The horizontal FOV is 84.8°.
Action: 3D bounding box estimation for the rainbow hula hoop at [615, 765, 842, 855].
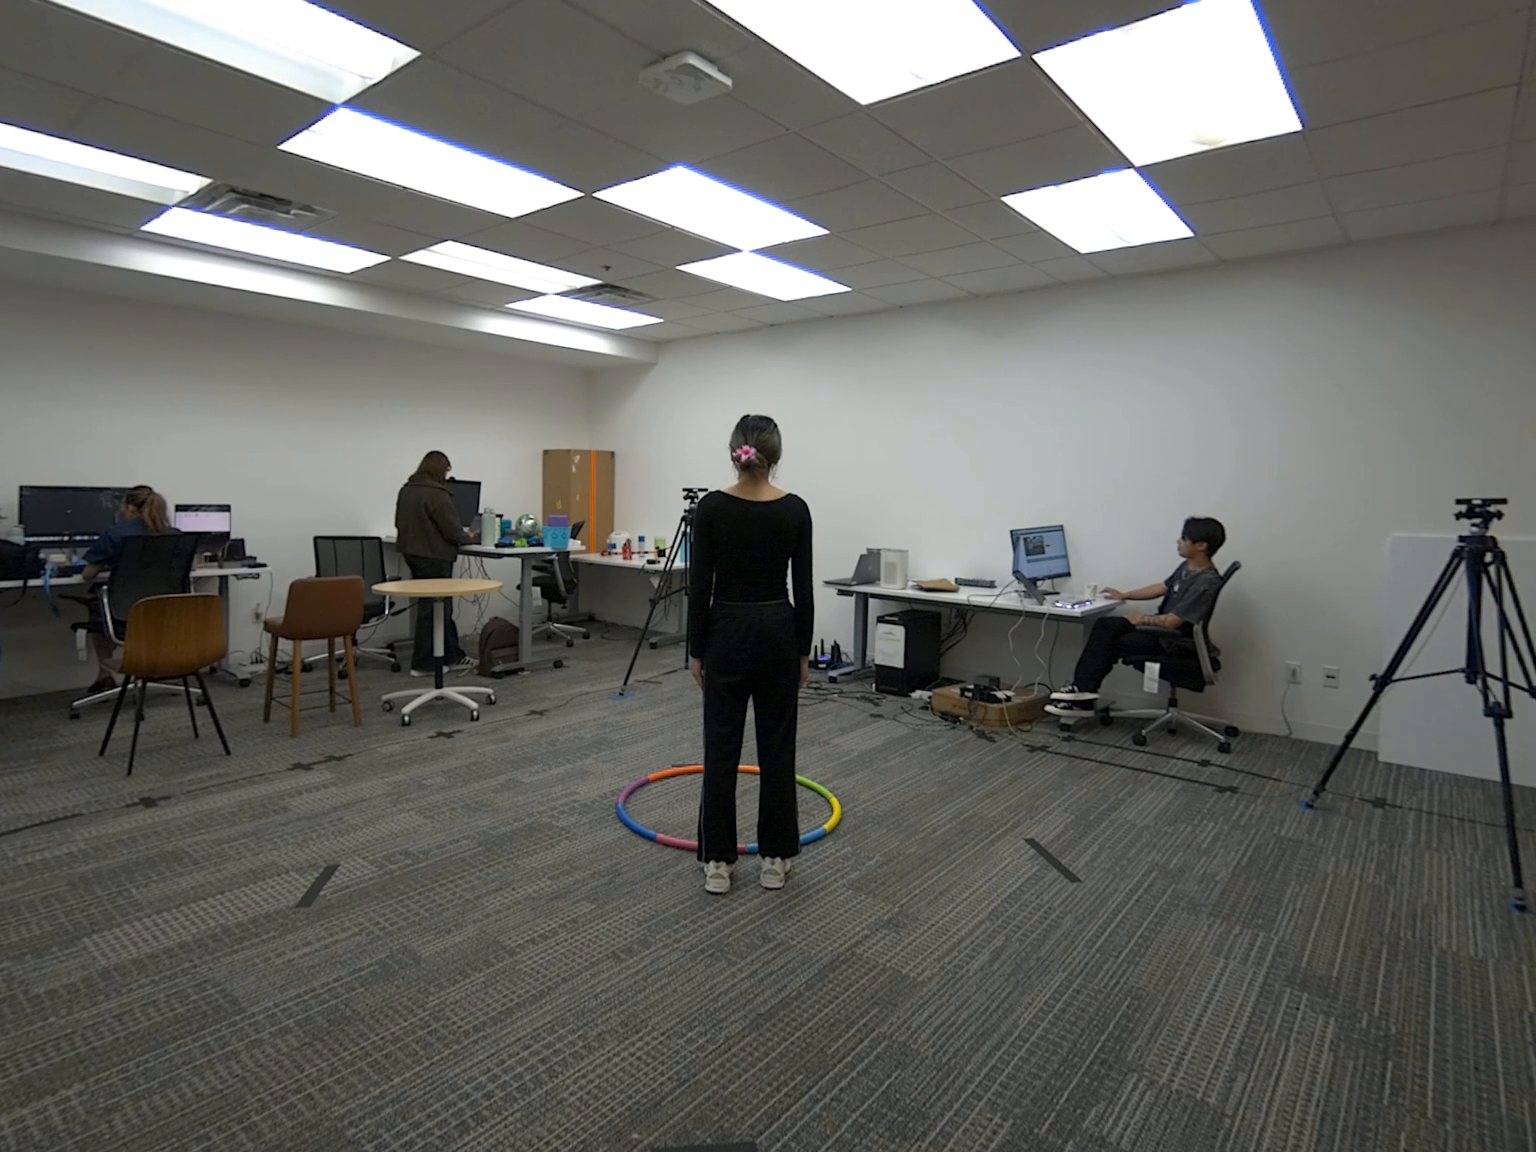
[{"bbox_3d":[-0.187,0.984,3.725,0.978,0.035,0.984,1,6,-2],"label":"rainbow hula hoop"}]
